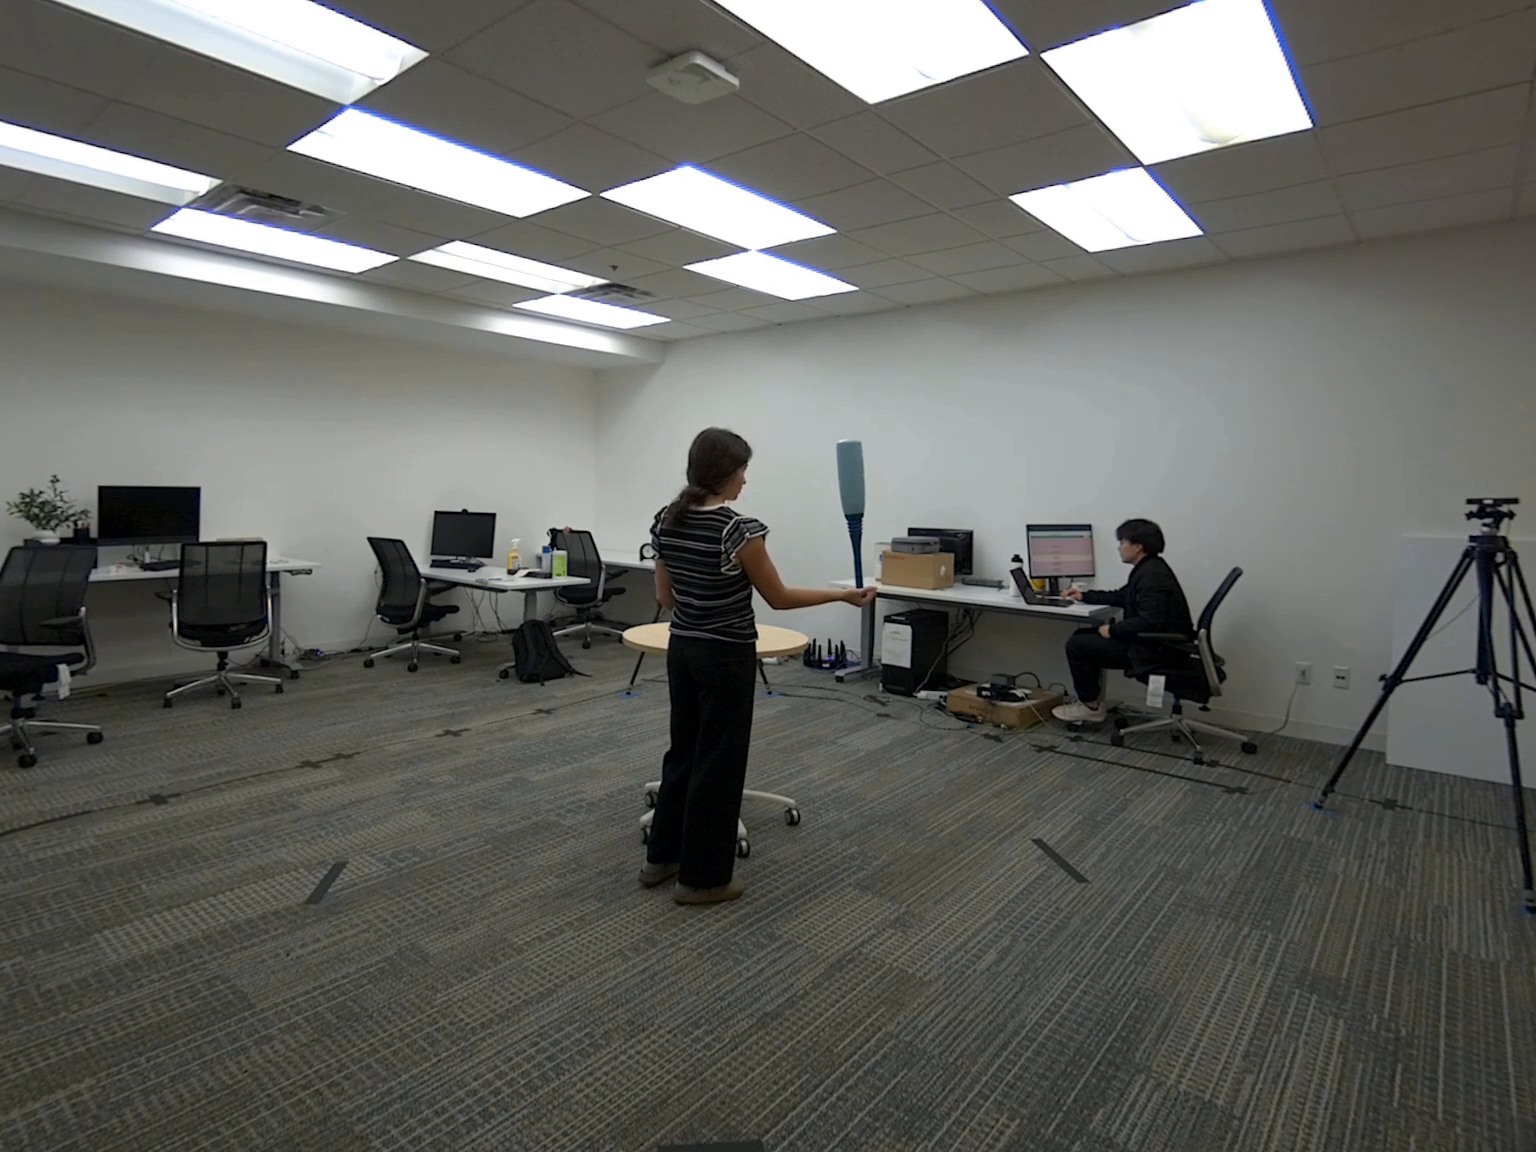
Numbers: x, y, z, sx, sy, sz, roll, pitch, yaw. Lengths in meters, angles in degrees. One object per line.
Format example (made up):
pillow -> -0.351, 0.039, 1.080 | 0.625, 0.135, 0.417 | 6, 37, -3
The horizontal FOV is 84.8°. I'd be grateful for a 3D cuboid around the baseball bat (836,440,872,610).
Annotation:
baseball bat -> 0.286, -0.193, 2.889 | 0.089, 0.539, 0.090 | -7, 6, -1
